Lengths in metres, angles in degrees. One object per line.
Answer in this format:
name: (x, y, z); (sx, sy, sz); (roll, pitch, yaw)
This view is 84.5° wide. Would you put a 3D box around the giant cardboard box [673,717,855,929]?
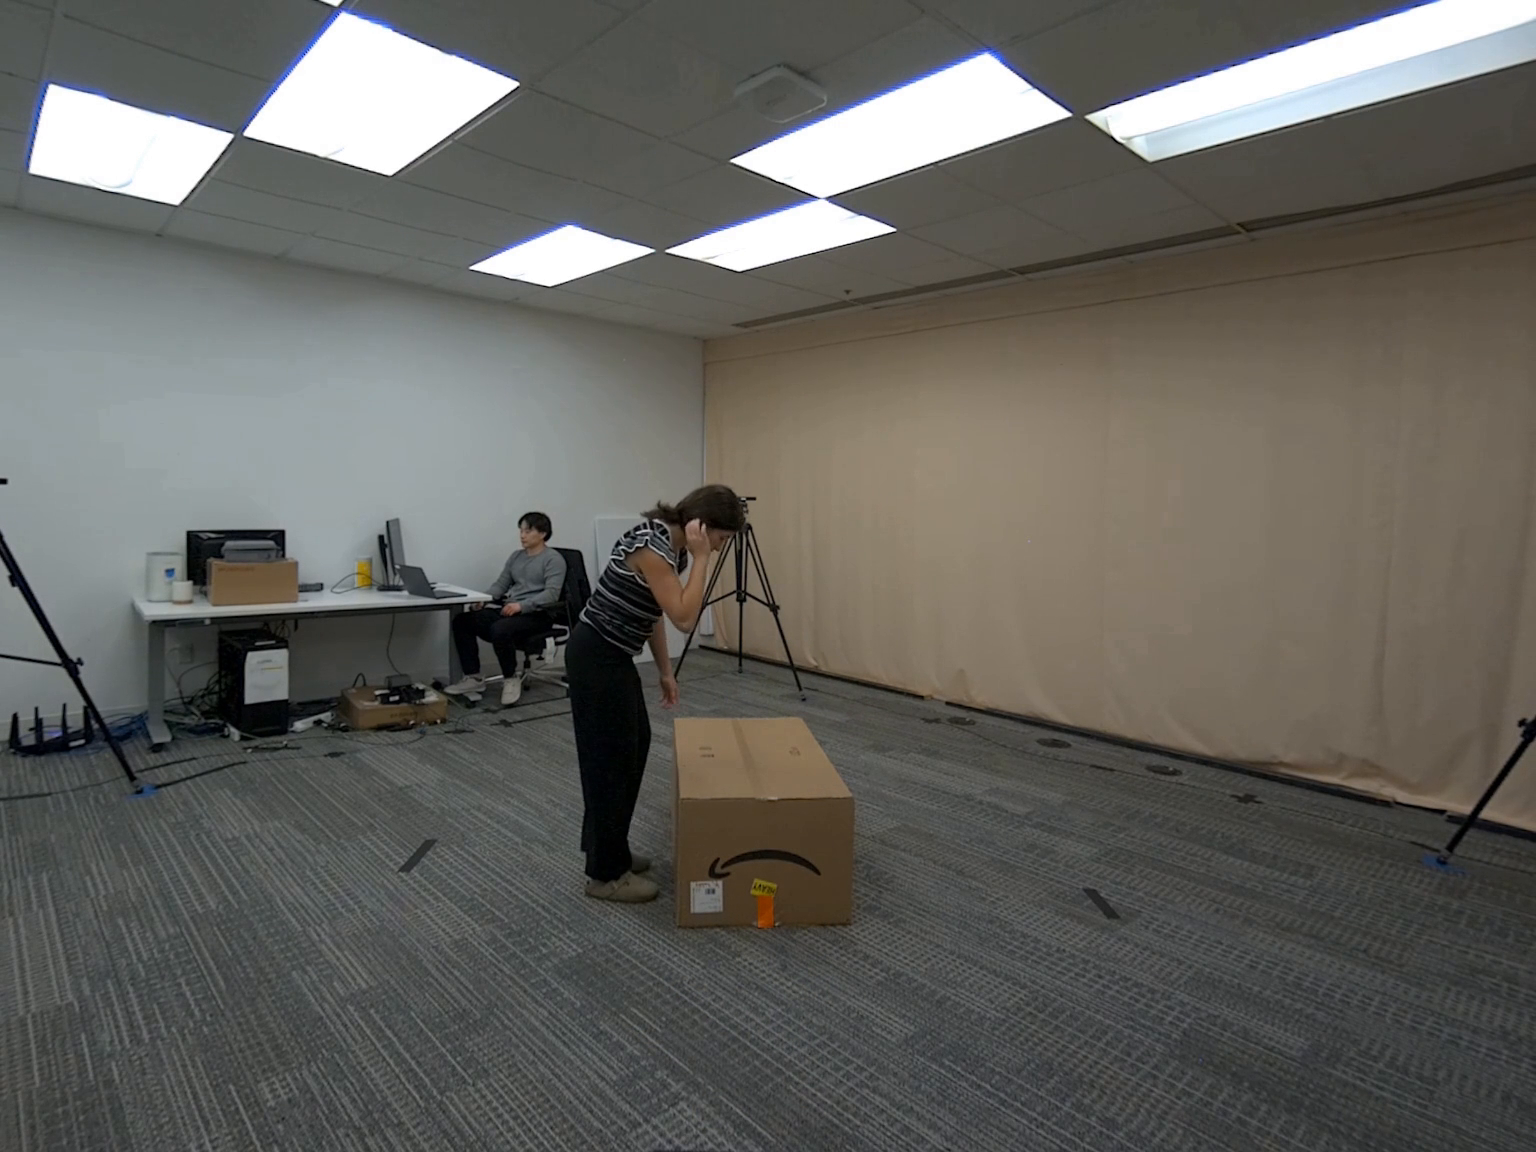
giant cardboard box: (-0.076, 0.885, 3.232); (0.575, 0.425, 1.033); (1, 5, -7)
